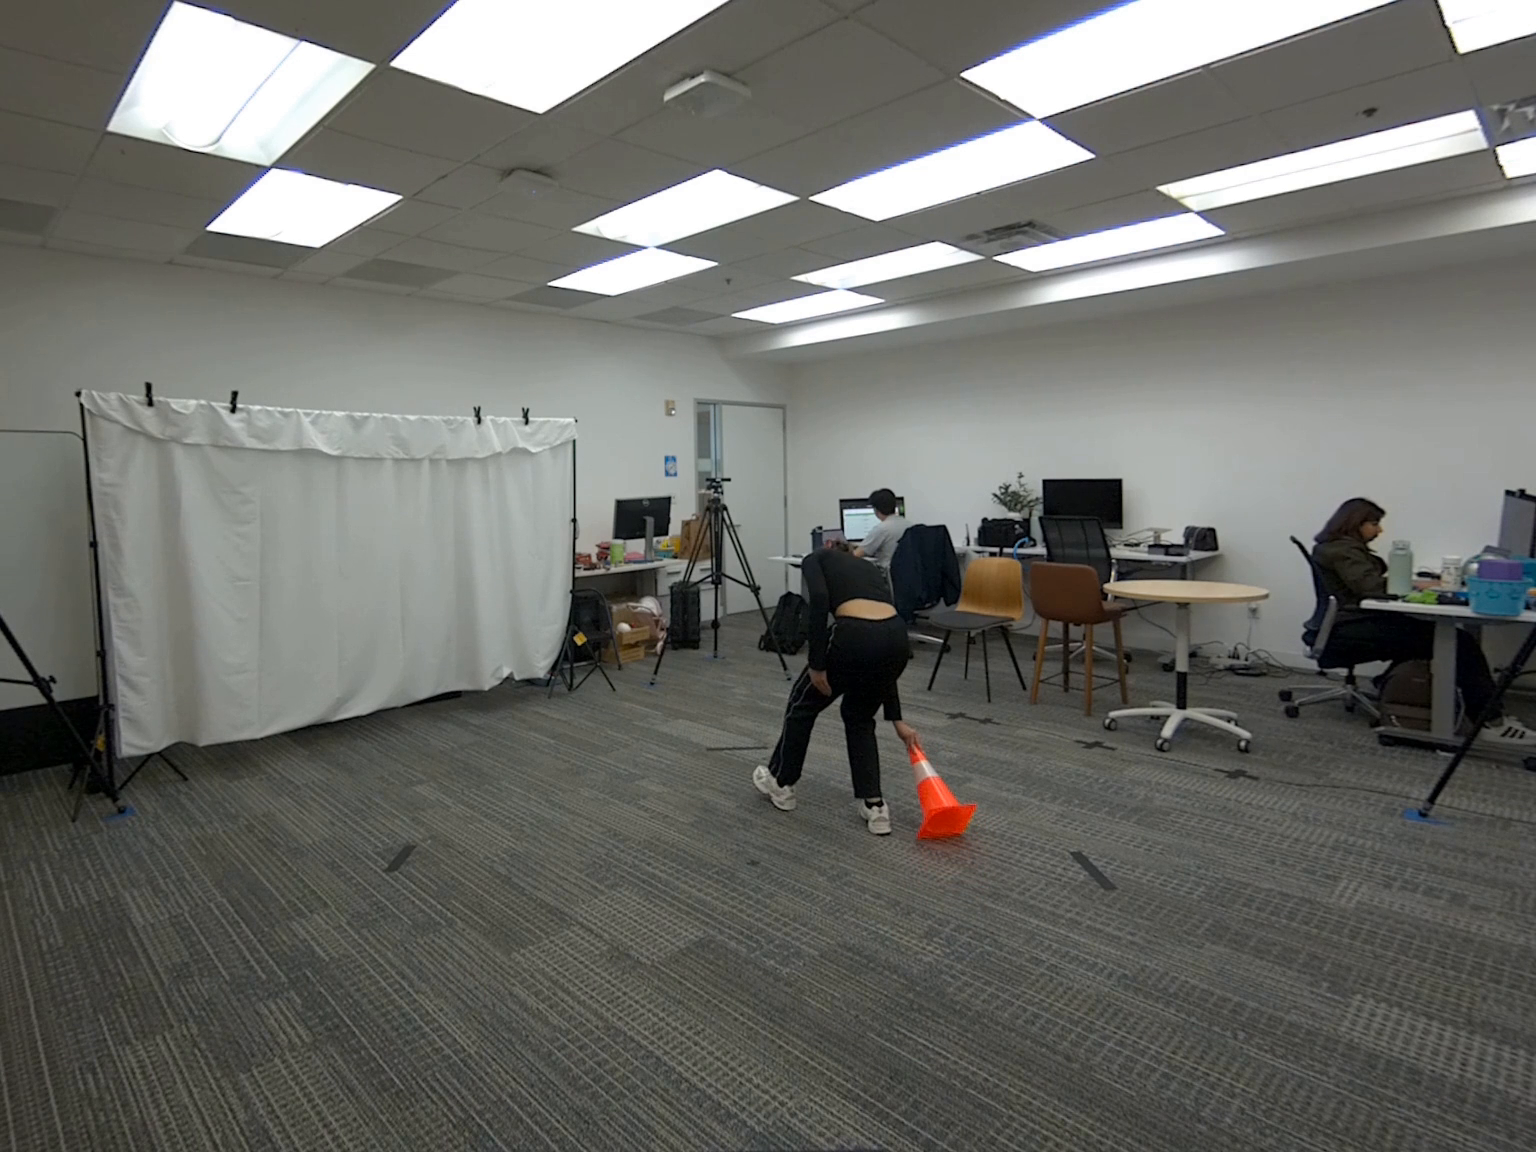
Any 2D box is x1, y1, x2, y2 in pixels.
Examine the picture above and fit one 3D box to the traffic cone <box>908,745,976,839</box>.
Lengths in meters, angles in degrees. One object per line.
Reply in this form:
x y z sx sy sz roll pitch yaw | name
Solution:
0.640 0.812 3.387 0.202 0.199 0.397 -1 40 -13 | traffic cone
